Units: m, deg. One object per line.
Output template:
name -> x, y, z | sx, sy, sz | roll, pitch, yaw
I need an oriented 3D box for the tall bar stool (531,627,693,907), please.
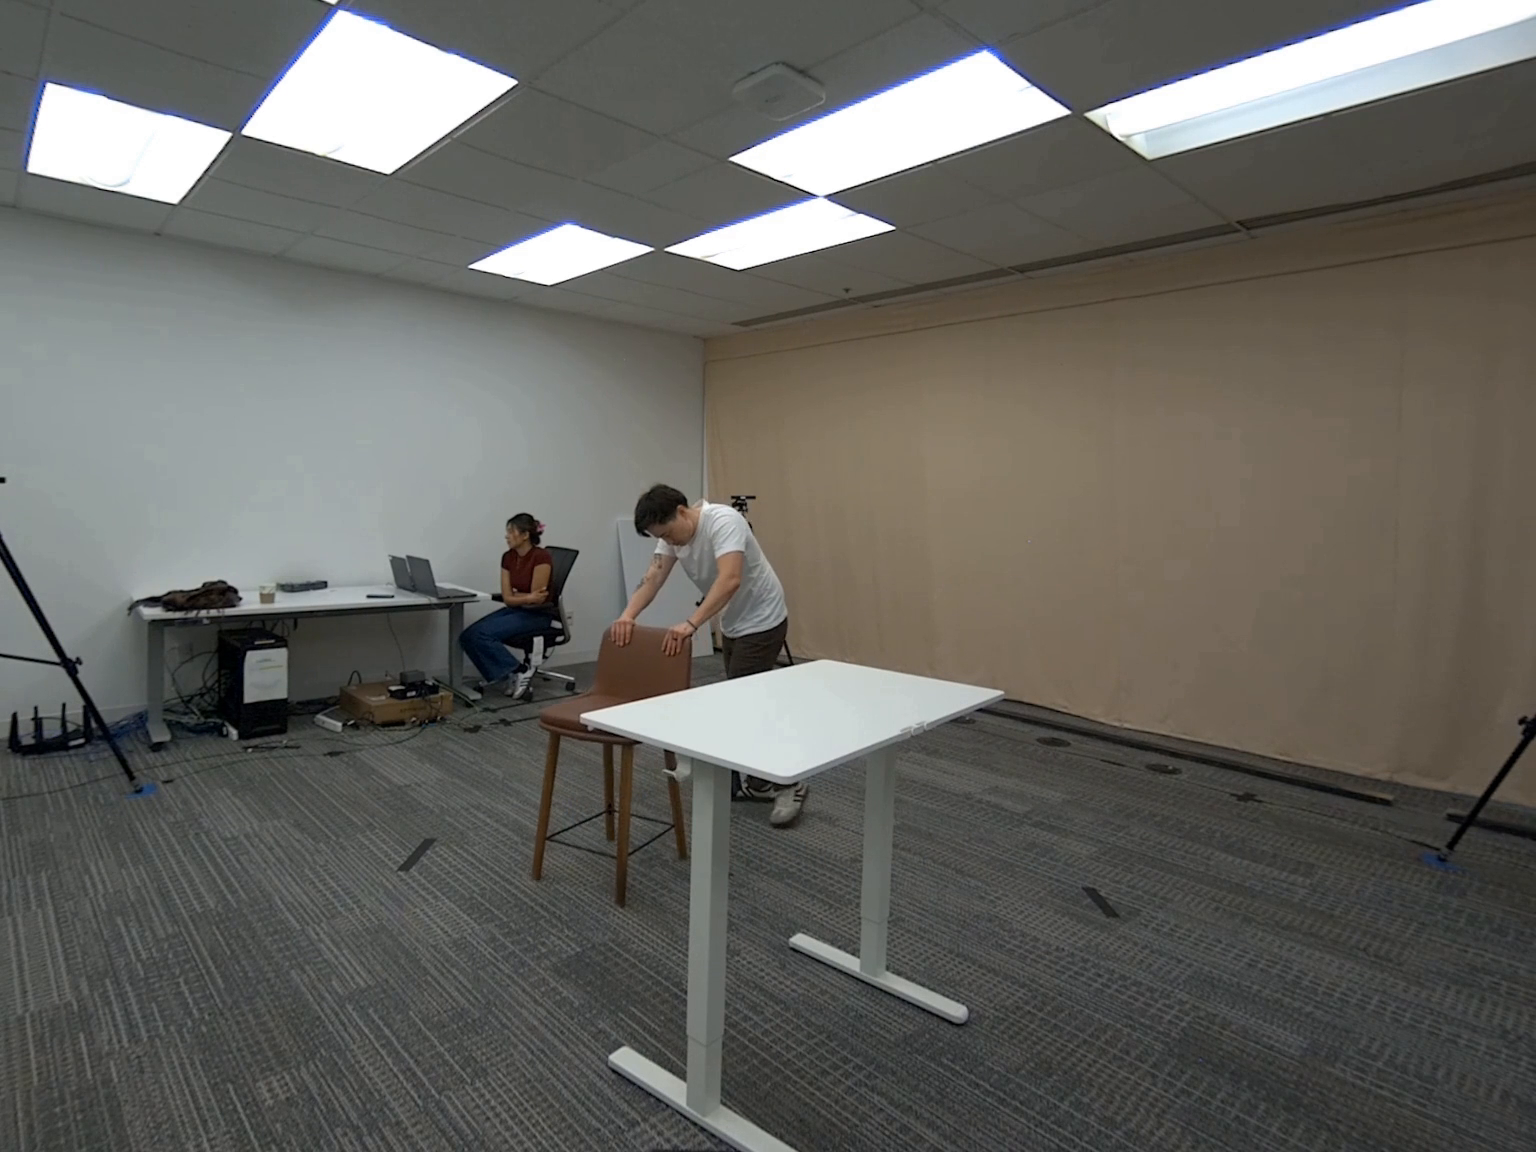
tall bar stool -> -0.571, 0.656, 3.114 | 0.466, 0.889, 0.458 | 3, 2, 29
